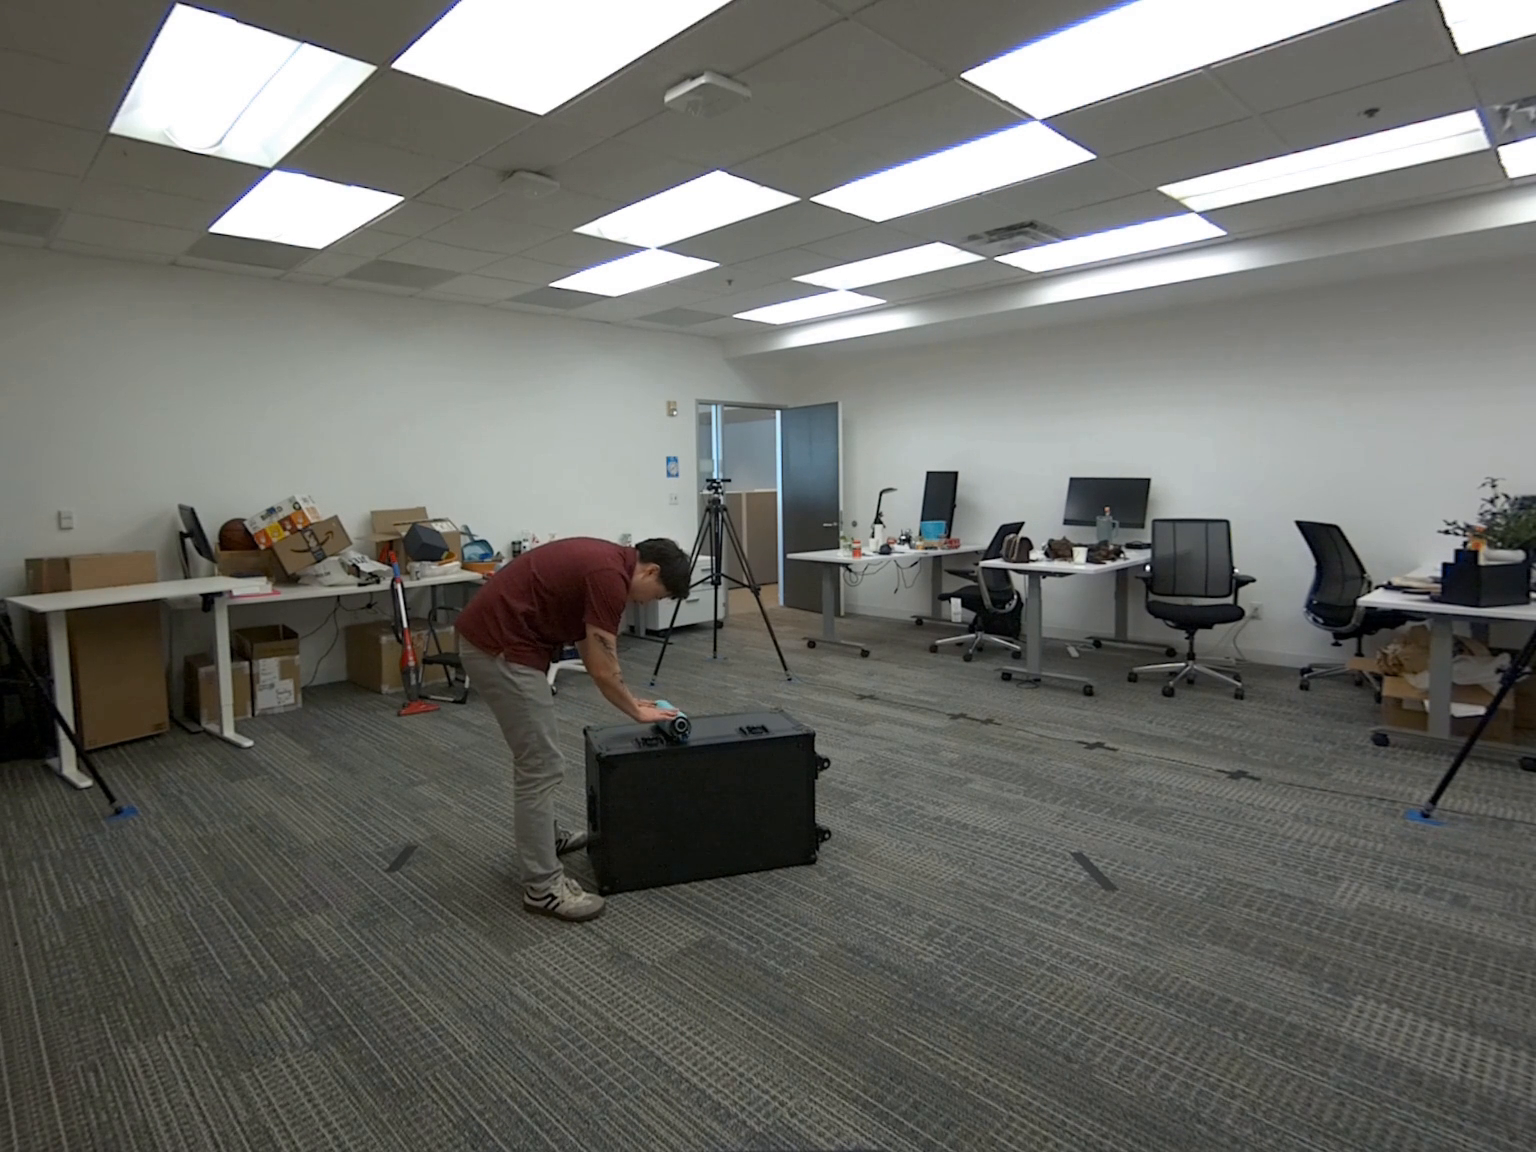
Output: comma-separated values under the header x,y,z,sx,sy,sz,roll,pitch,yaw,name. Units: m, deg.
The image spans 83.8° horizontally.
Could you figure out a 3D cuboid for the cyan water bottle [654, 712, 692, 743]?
x,y,z,sx,sy,sz,roll,pitch,yaw,name
-0.347,0.517,3.088,0.090,0.092,0.290,-3,6,-23,cyan water bottle
